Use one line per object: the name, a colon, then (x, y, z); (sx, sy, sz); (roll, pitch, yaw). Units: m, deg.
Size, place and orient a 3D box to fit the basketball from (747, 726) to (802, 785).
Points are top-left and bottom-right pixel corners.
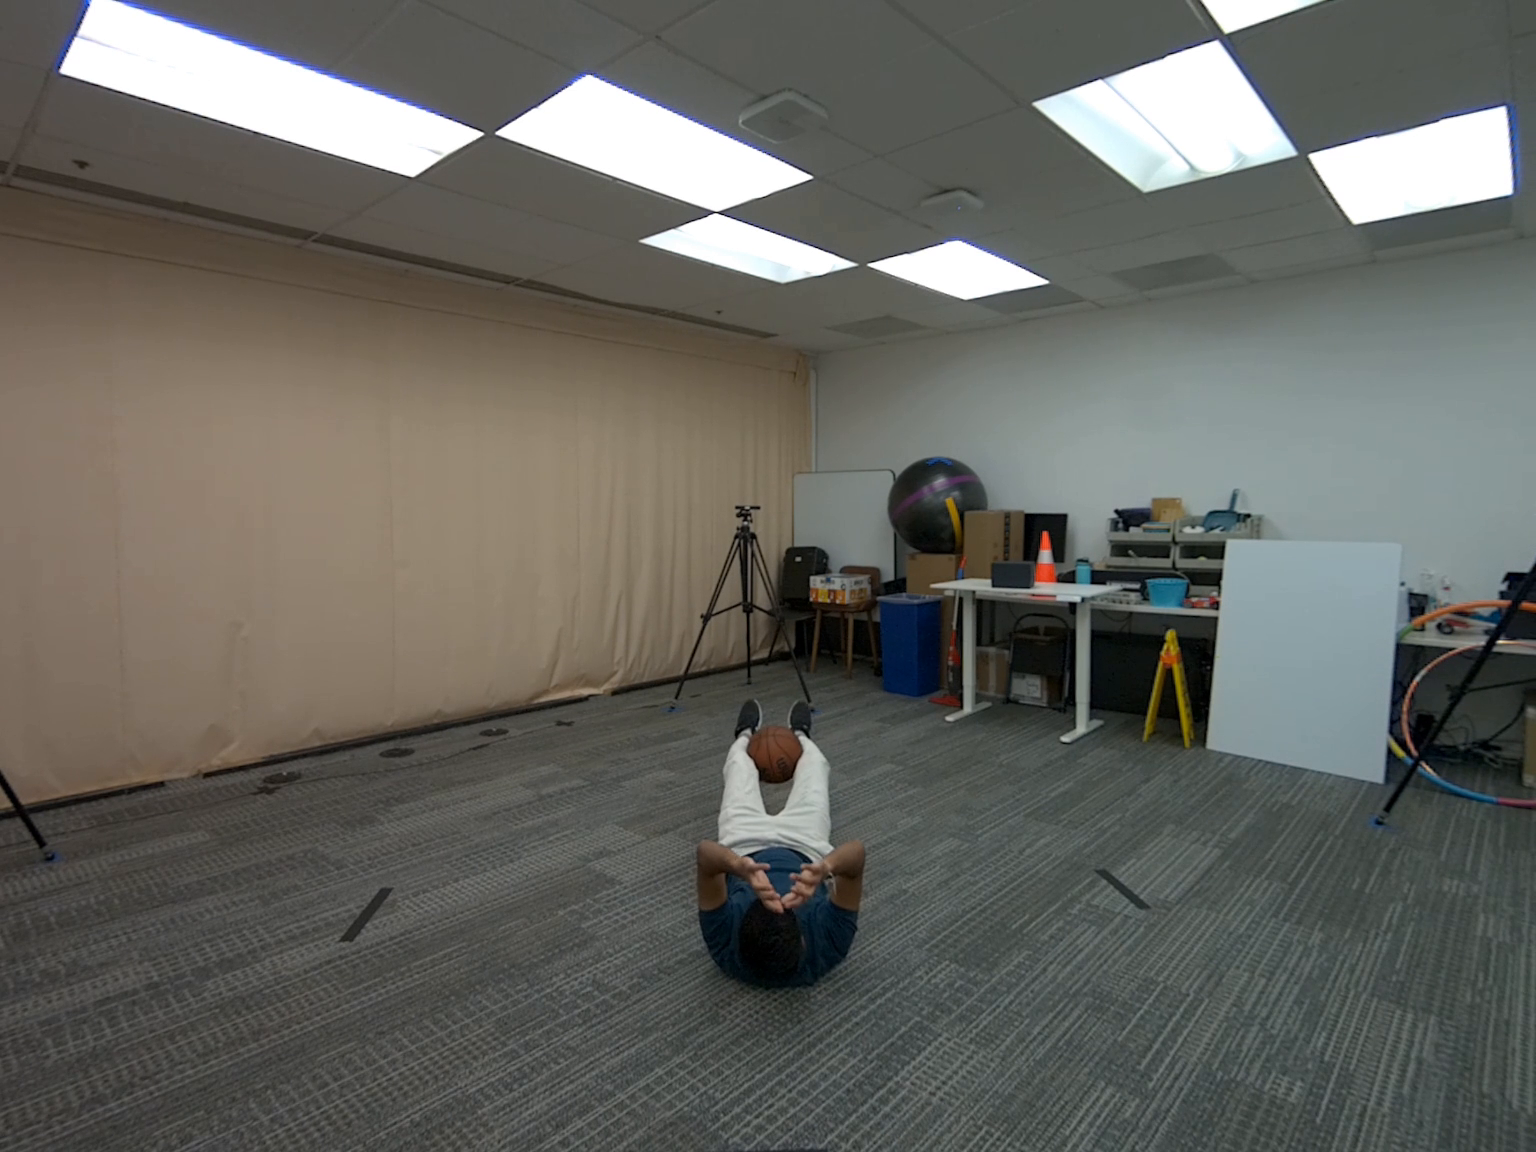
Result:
basketball: (0.027, 0.736, 3.487); (0.236, 0.235, 0.237); (0, 4, -2)
